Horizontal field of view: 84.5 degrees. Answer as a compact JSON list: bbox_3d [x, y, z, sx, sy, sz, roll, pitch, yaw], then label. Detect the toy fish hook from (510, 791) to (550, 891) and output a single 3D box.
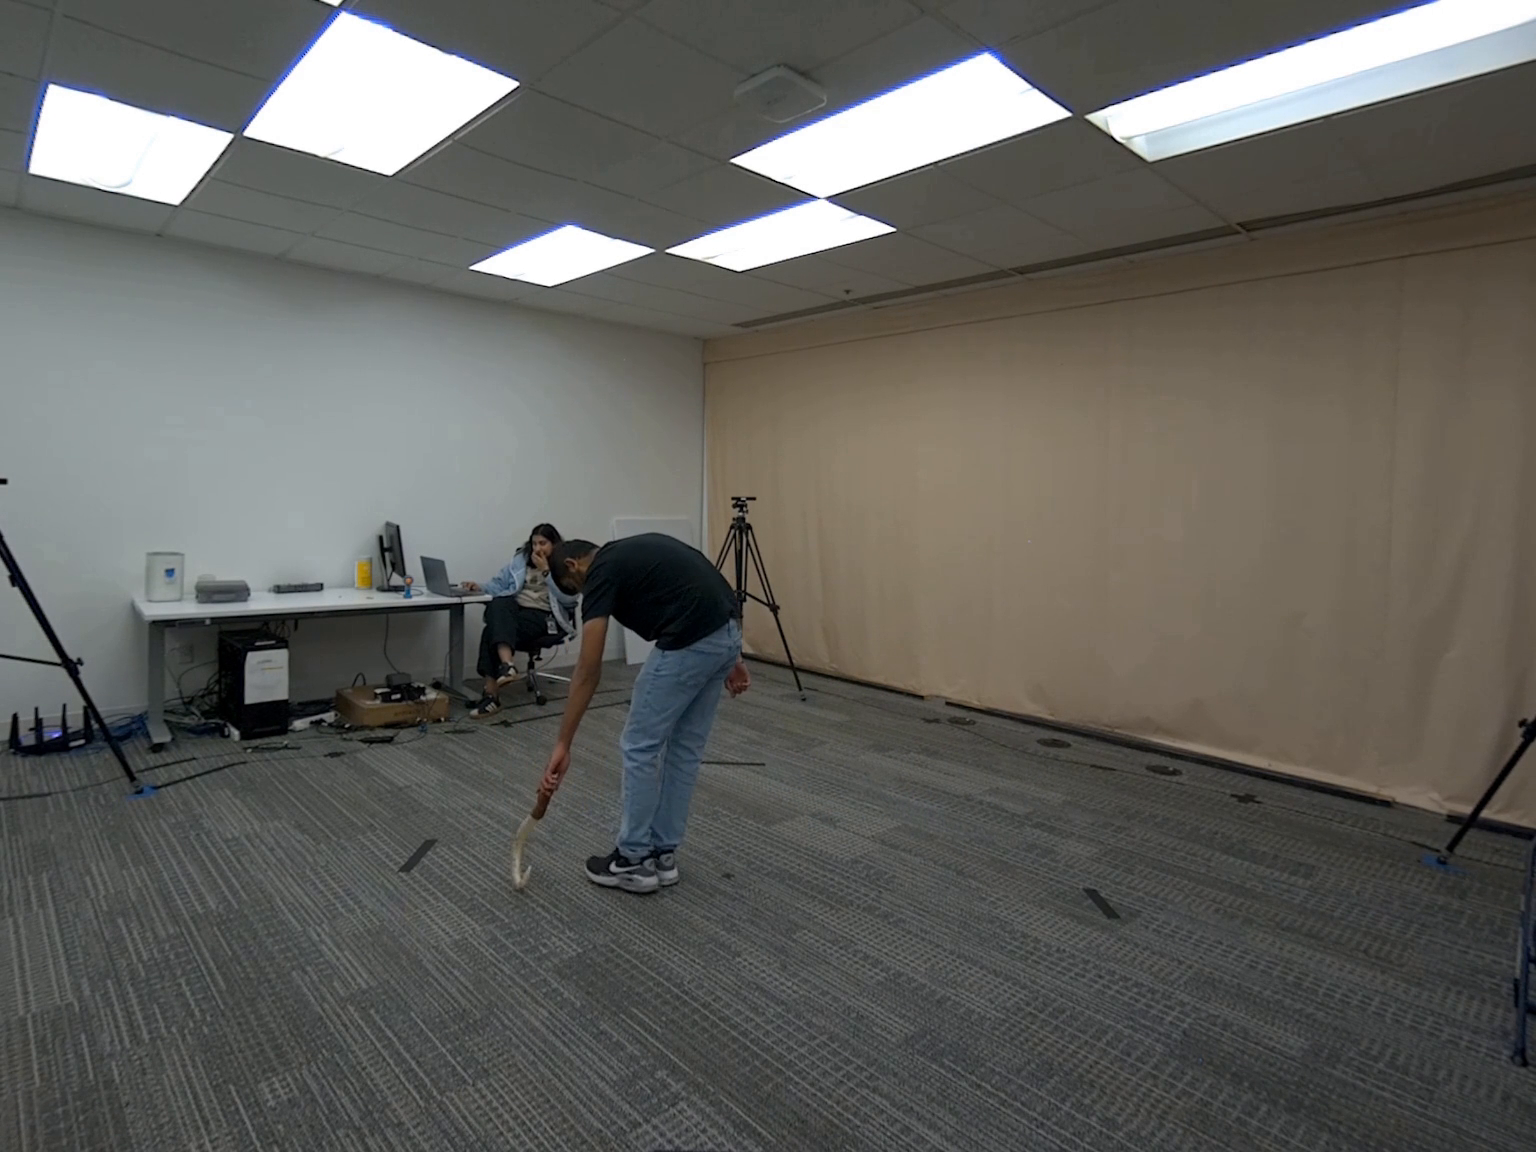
[{"bbox_3d":[-0.804,0.890,2.874,0.047,0.503,0.231,9,38,-29],"label":"toy fish hook"}]
